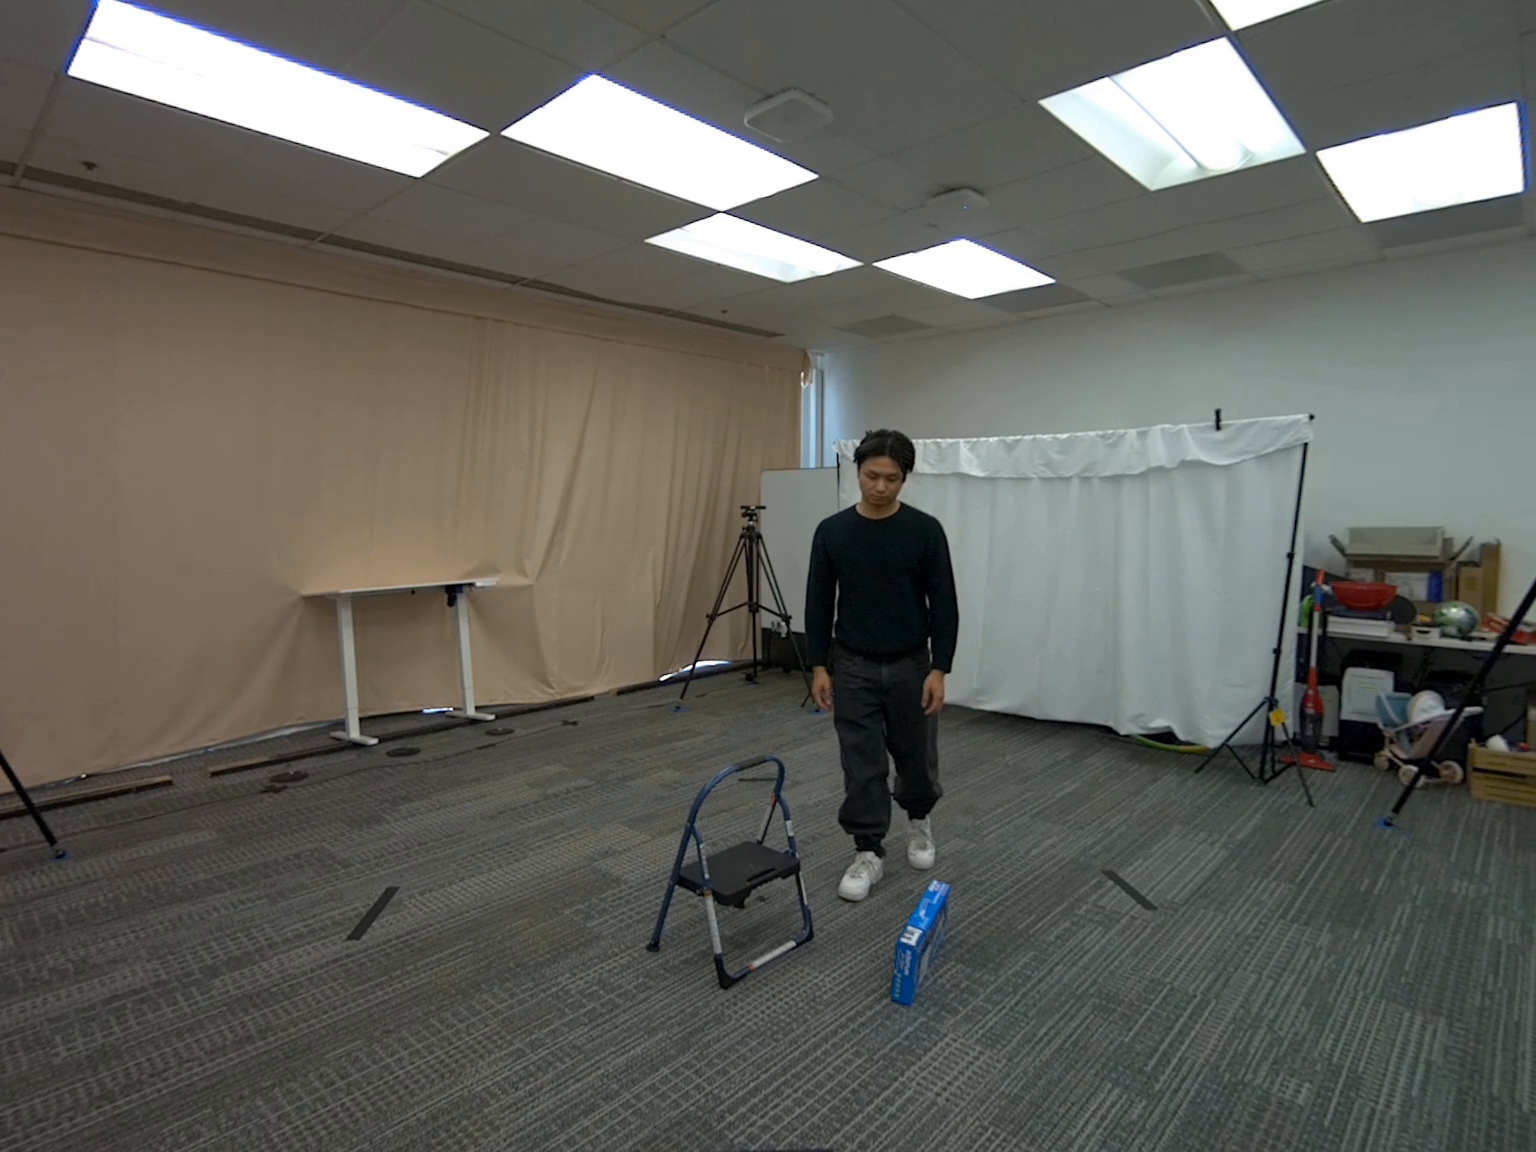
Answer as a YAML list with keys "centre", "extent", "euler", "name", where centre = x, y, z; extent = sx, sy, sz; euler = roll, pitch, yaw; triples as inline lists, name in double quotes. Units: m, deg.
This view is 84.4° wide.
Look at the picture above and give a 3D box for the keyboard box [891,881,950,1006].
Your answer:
- centre: [0.469, 1.090, 2.535]
  extent: [0.061, 0.175, 0.427]
  euler: [9, 8, 24]
  name: "keyboard box"
